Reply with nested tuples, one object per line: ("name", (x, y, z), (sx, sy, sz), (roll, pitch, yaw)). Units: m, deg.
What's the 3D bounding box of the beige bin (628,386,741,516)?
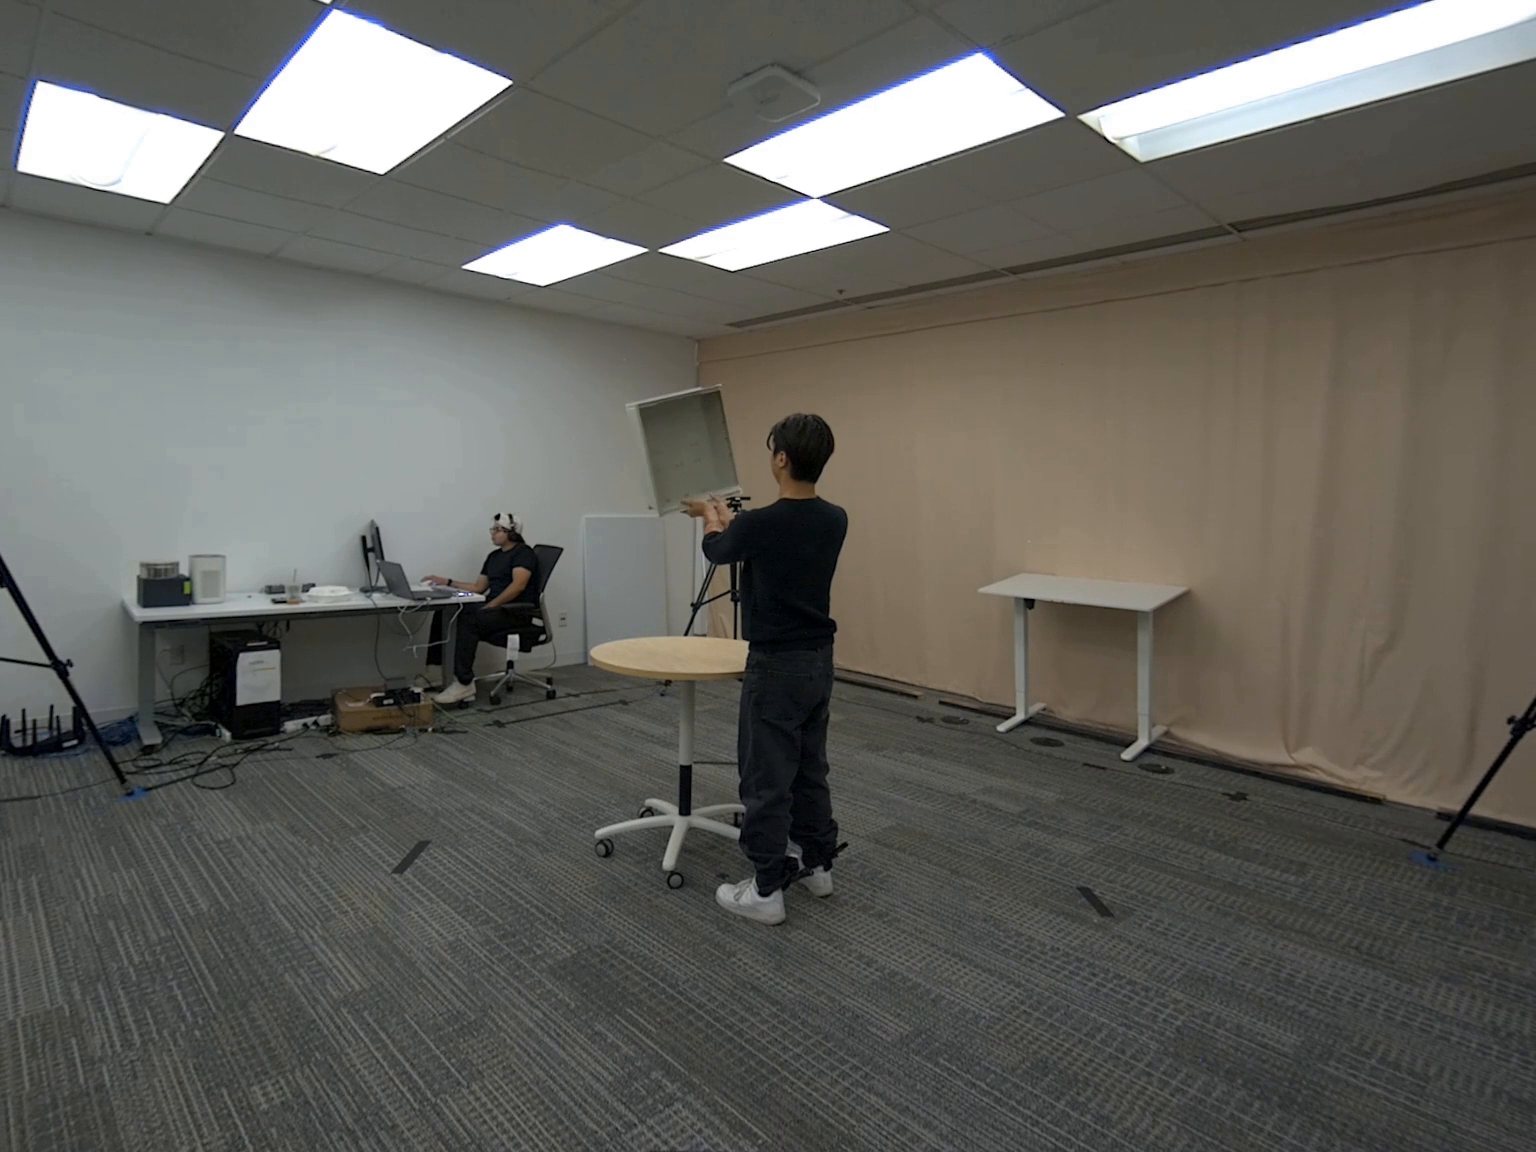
("beige bin", (-0.316, -0.483, 3.192), (0.373, 0.417, 0.193), (-17, 16, -21))
